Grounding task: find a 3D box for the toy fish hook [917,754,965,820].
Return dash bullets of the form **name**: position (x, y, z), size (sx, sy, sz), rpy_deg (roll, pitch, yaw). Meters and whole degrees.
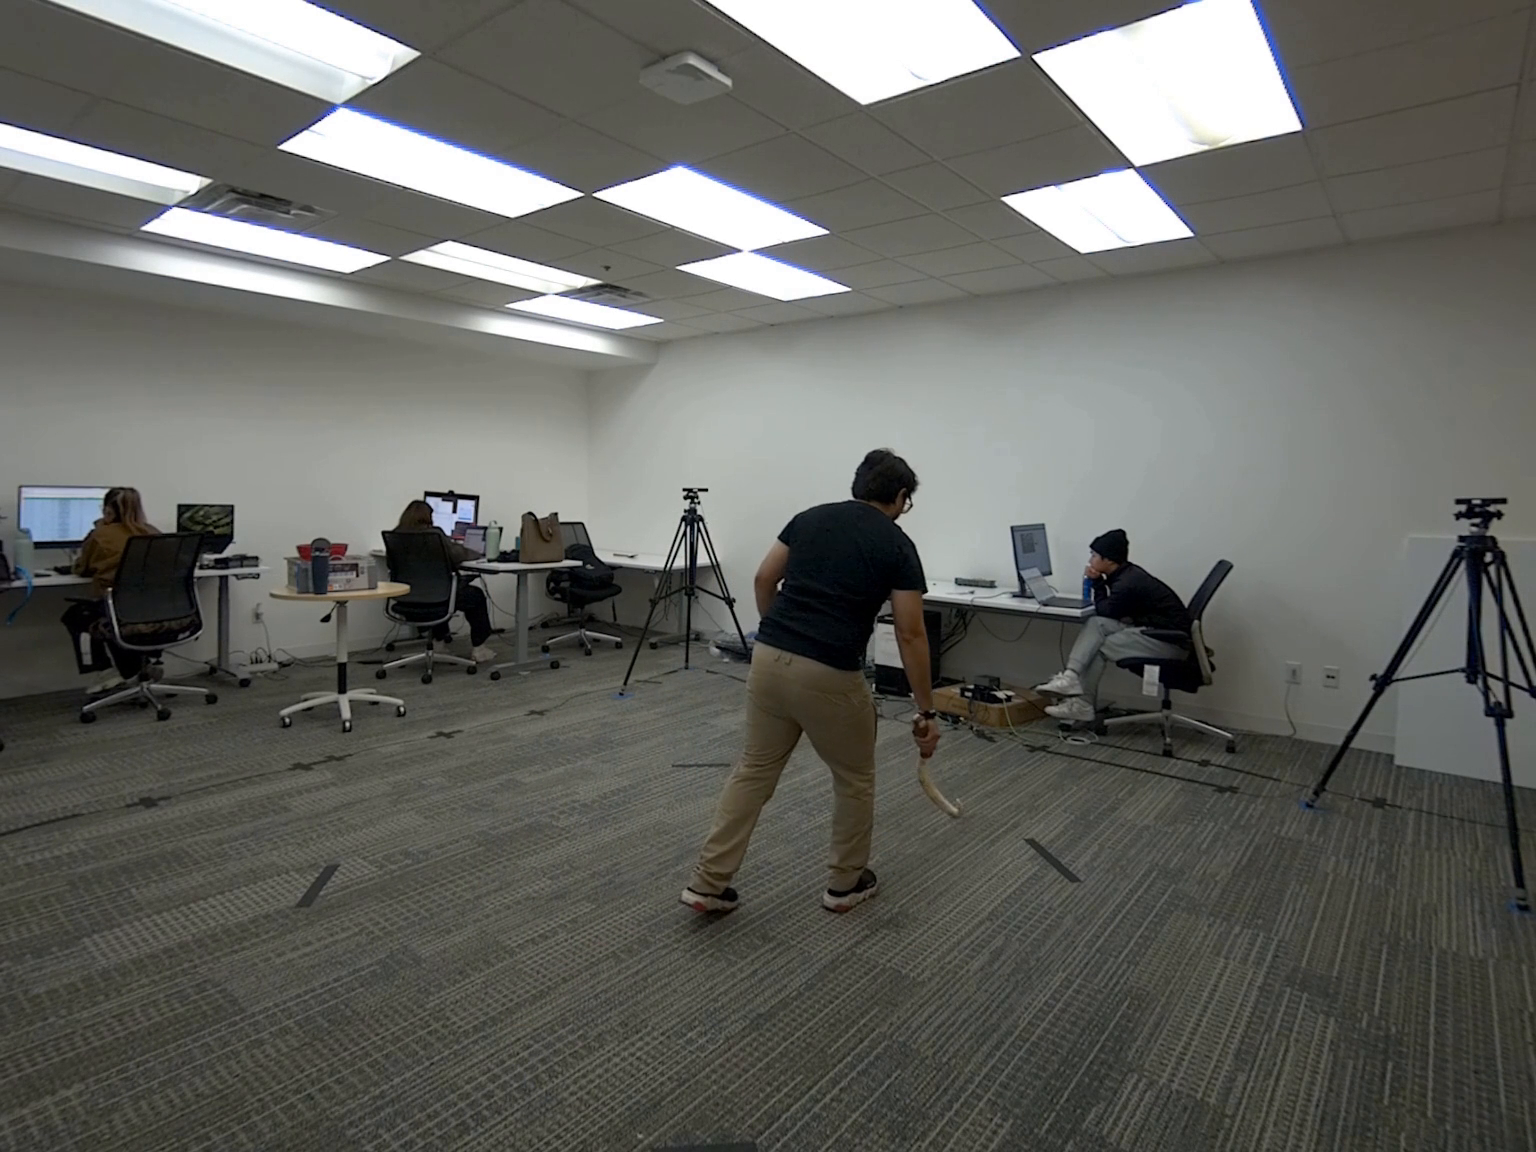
- **toy fish hook**: position (0.553, 0.647, 2.805), size (0.048, 0.487, 0.234), rpy_deg (-38, 44, -18)
